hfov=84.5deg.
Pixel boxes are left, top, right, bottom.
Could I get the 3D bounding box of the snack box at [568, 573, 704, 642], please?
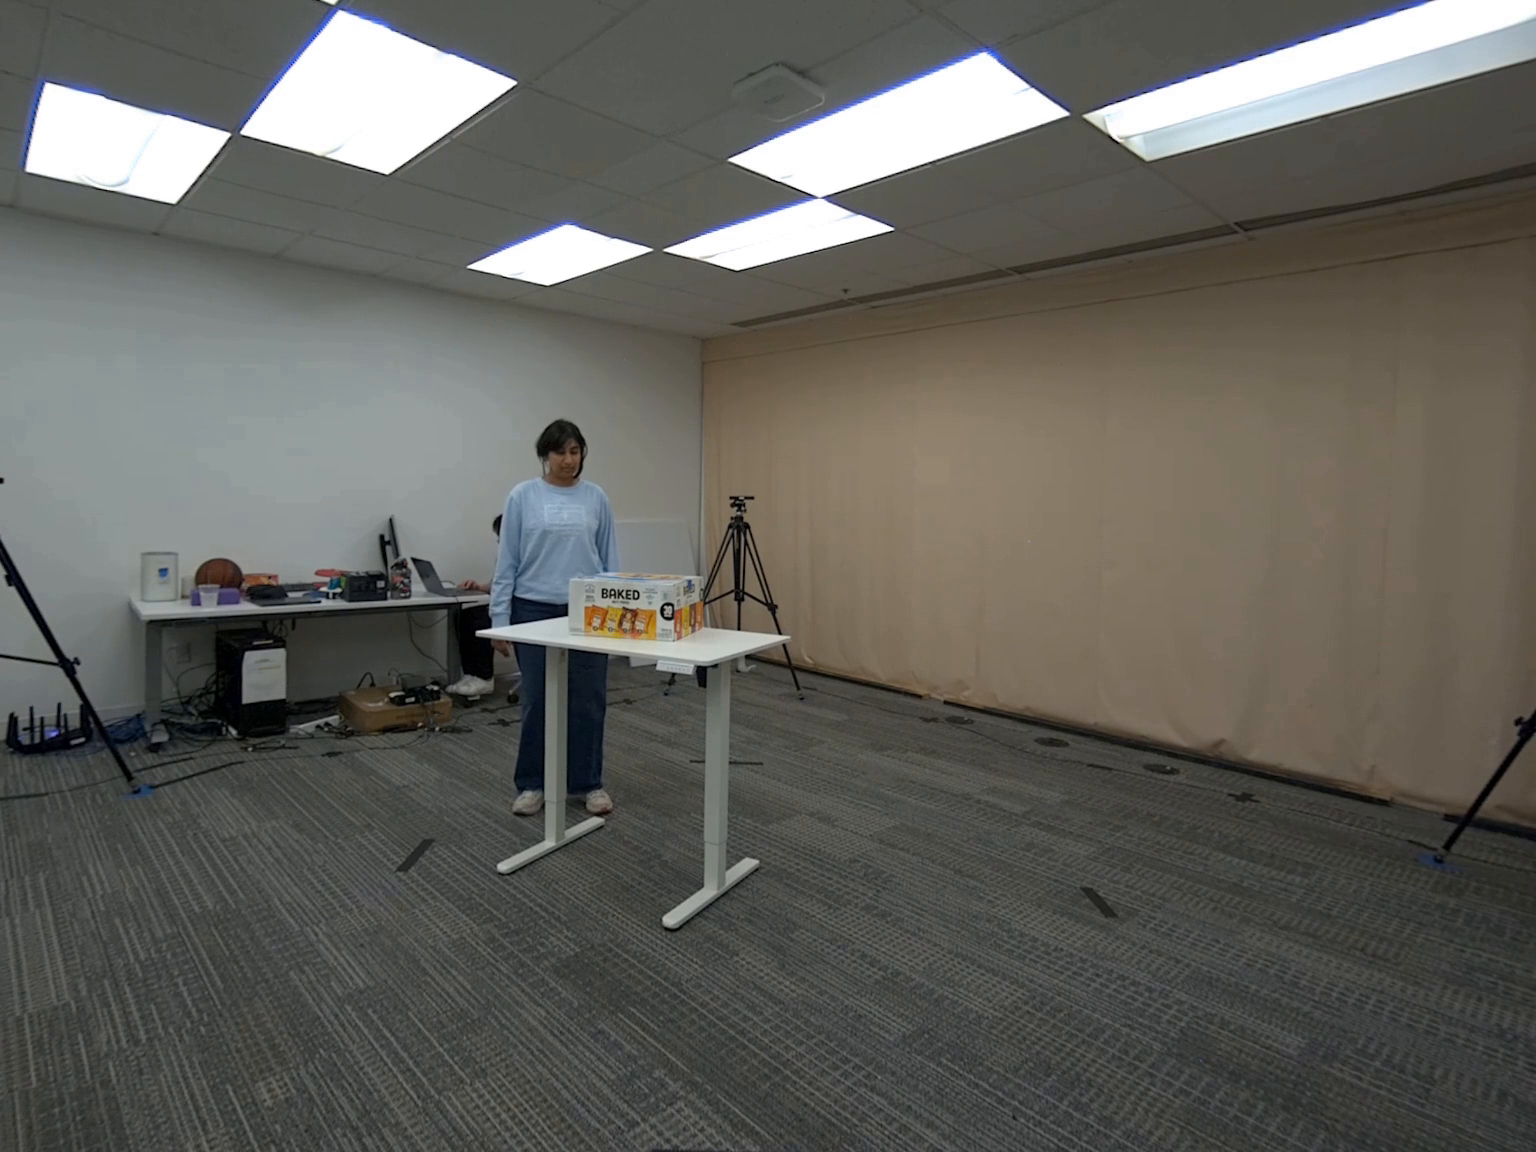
[{"bbox_3d":[-0.492,0.108,3.152,0.410,0.205,0.337,2,4,14],"label":"snack box"}]
